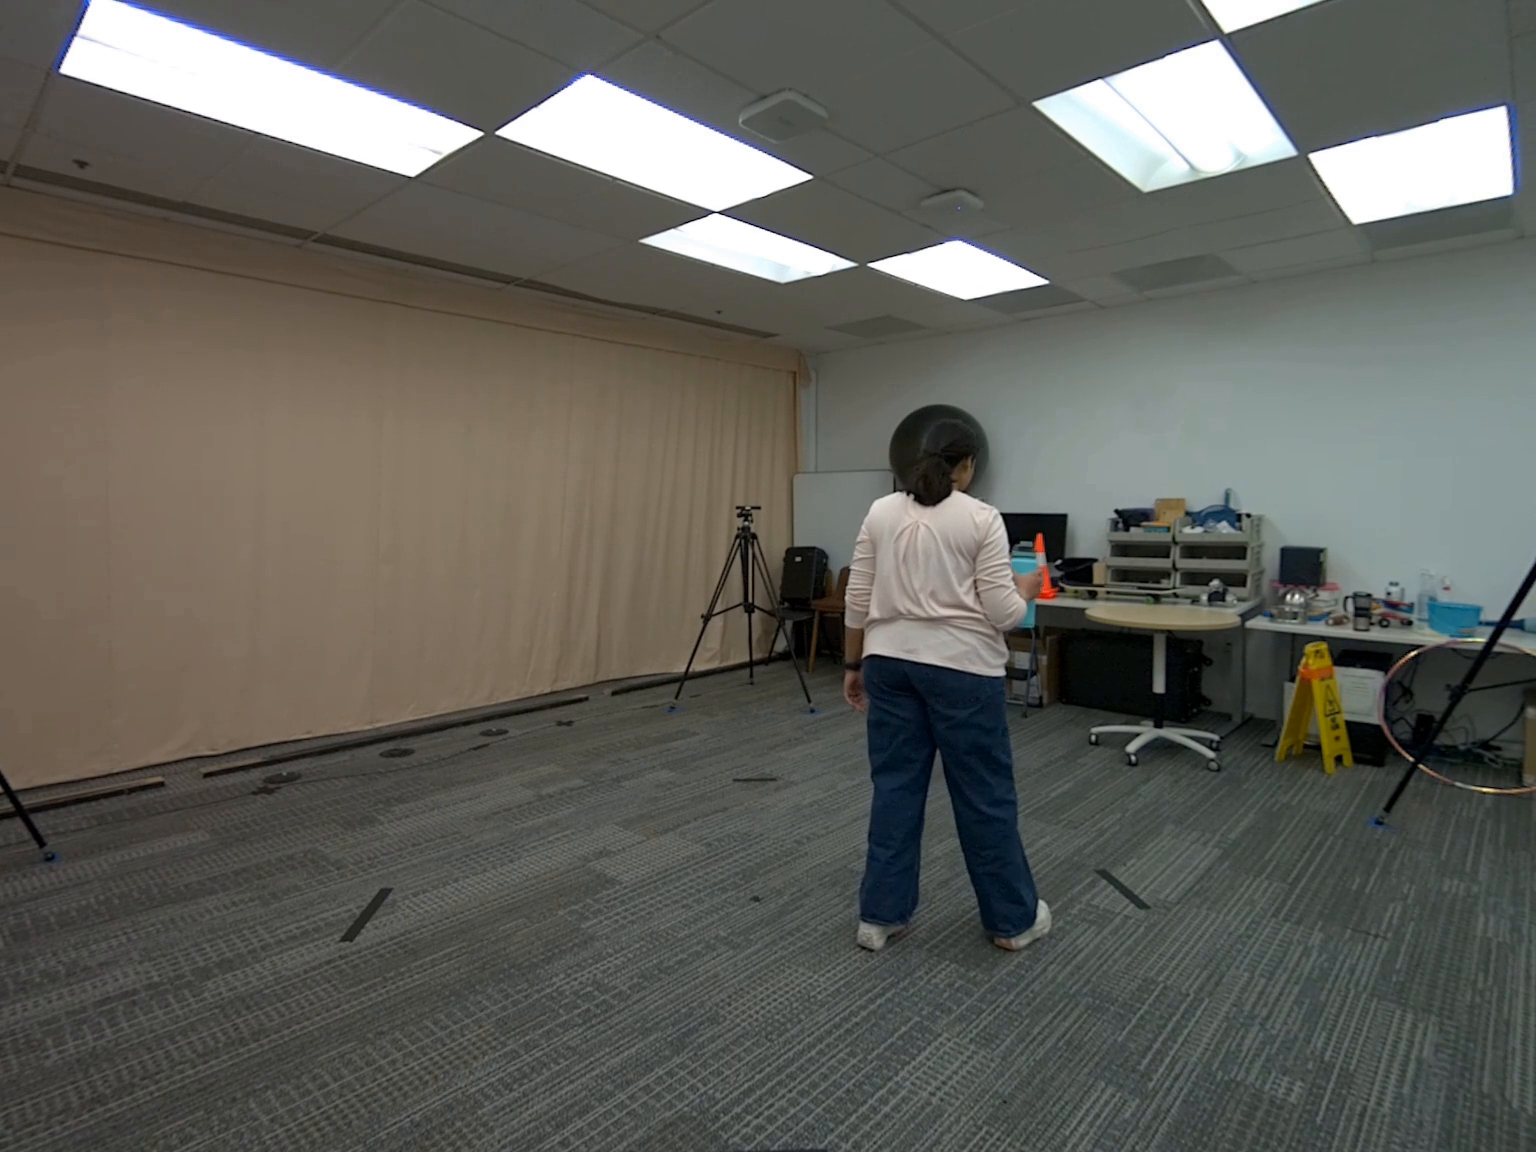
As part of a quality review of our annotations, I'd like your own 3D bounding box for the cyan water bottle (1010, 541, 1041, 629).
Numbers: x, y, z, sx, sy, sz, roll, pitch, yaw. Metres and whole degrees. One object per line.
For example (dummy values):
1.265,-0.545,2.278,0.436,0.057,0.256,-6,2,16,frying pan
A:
0.861,0.028,2.812,0.092,0.284,0.092,3,-4,-2,cyan water bottle
